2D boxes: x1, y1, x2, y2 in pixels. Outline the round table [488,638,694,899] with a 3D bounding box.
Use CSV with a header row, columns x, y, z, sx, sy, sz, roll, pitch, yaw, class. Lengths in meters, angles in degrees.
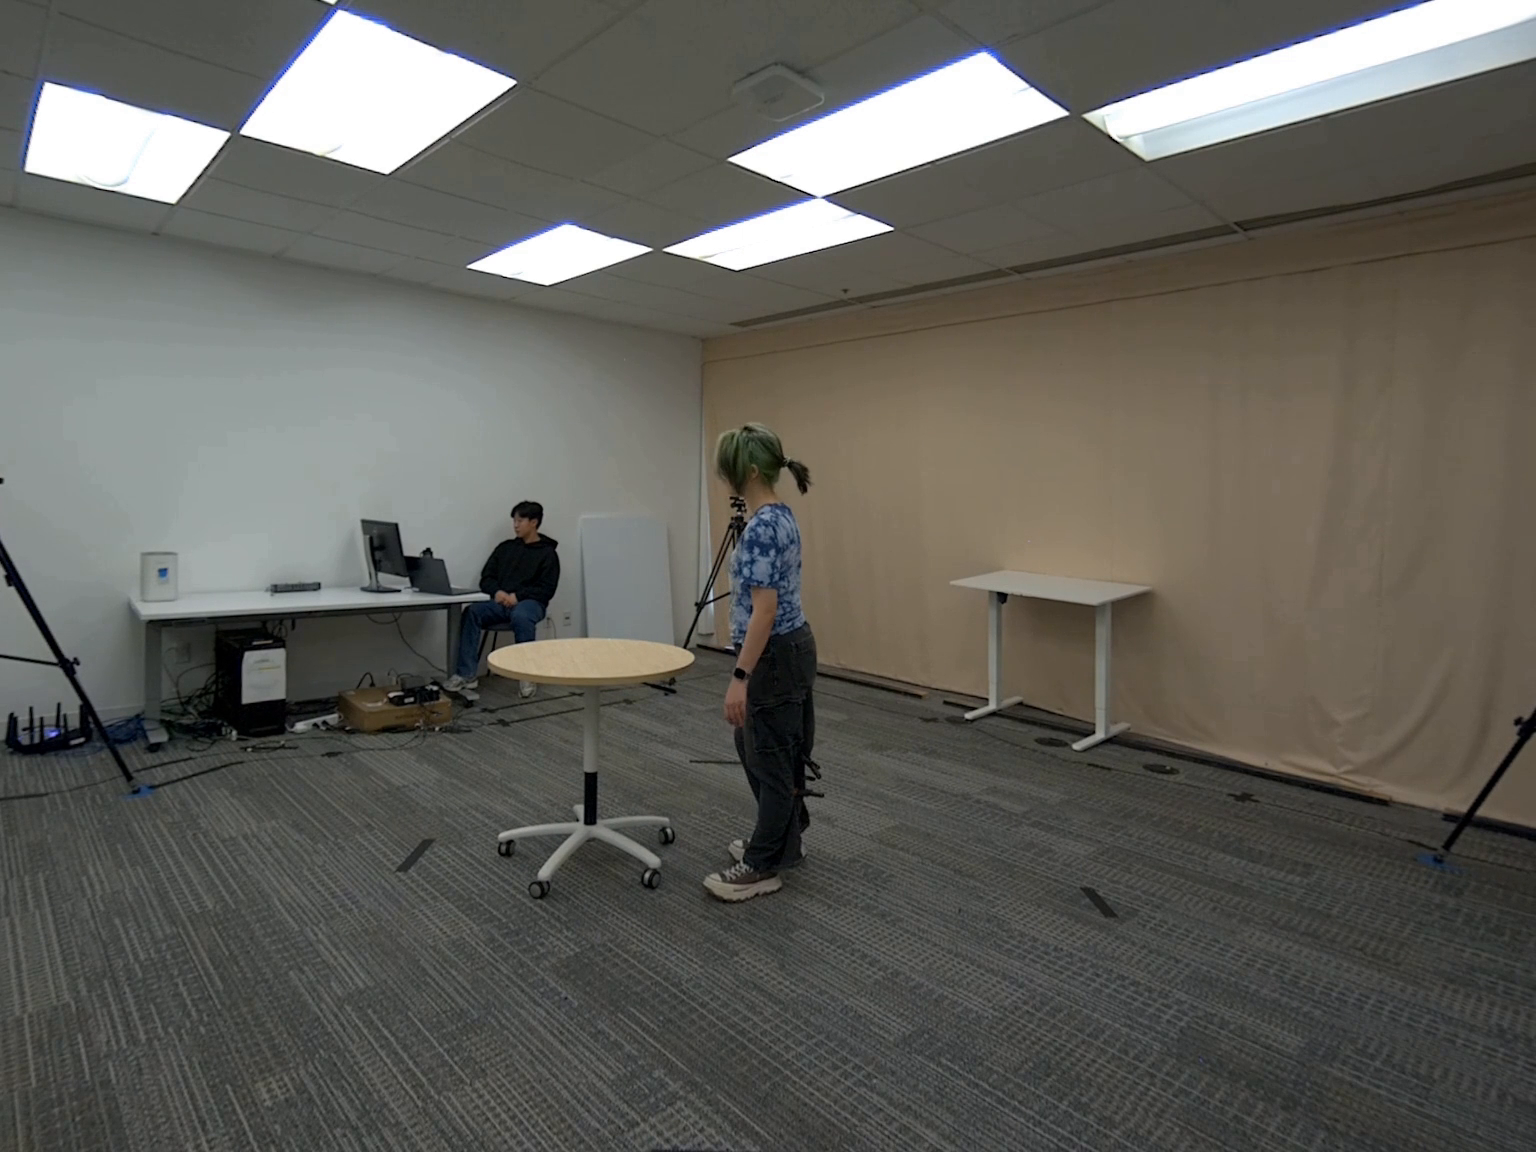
x,y,z,sx,sy,sz,roll,pitch,yaw,class
-0.672,0.693,3.195,0.763,0.792,0.767,1,4,-1,round table
